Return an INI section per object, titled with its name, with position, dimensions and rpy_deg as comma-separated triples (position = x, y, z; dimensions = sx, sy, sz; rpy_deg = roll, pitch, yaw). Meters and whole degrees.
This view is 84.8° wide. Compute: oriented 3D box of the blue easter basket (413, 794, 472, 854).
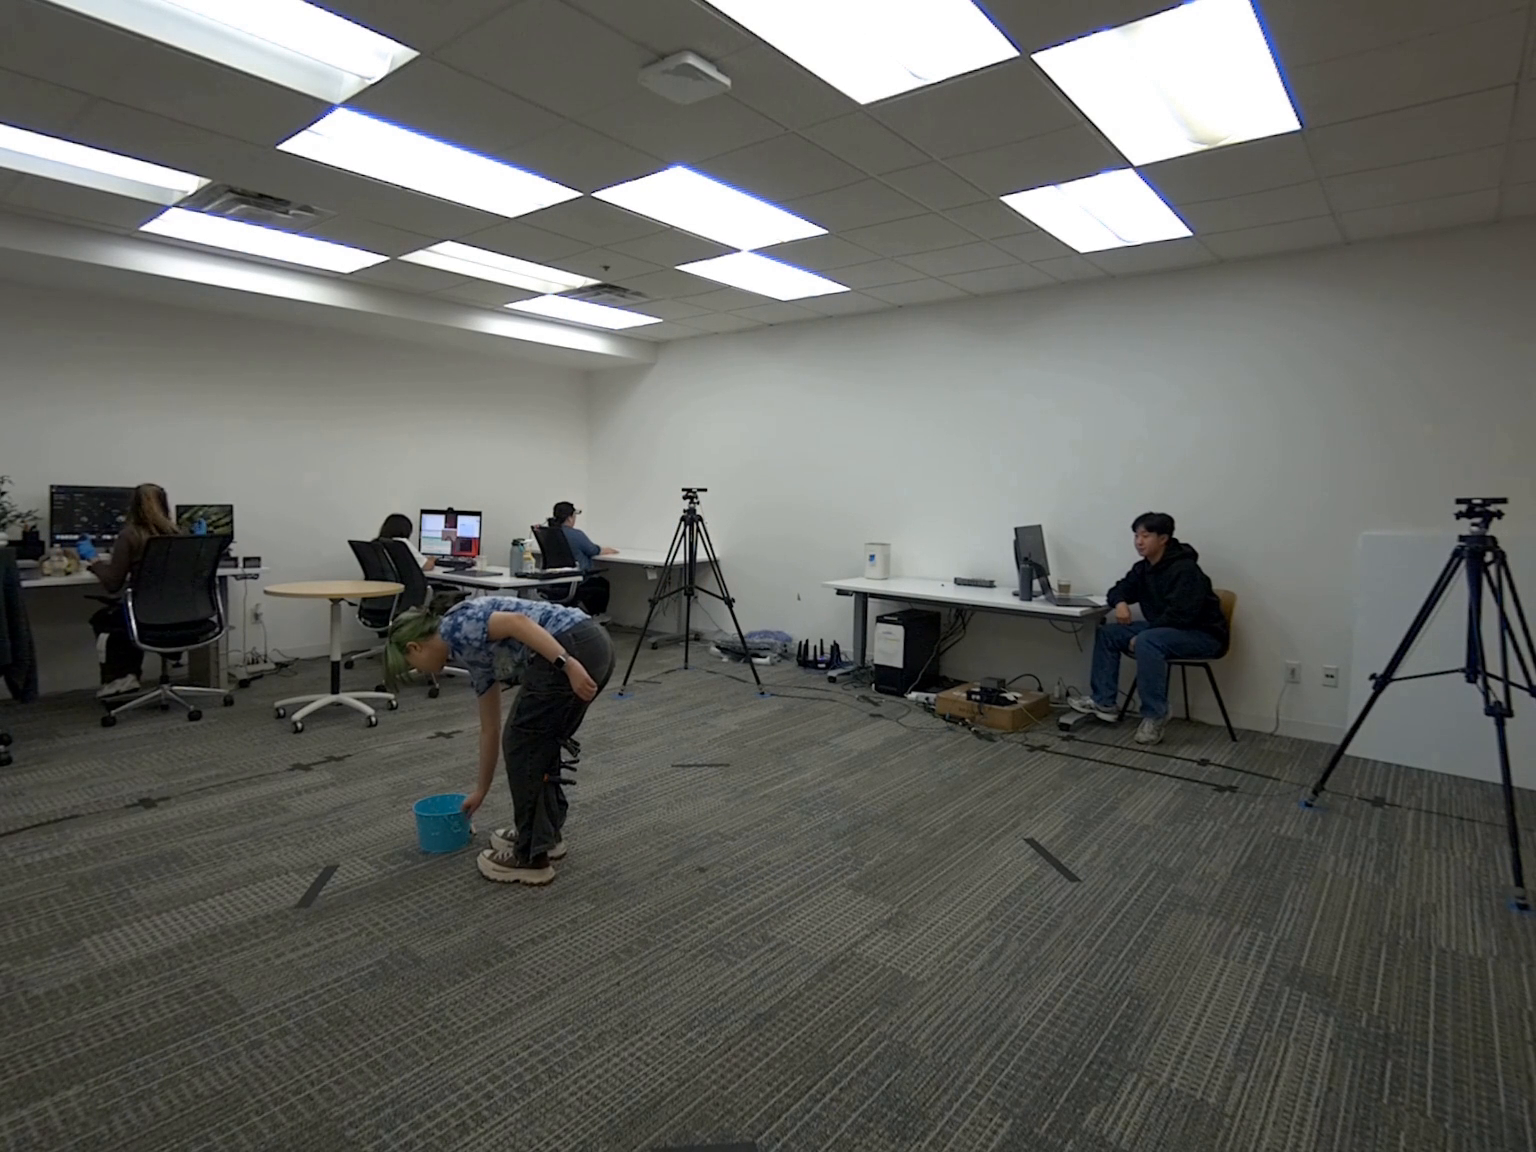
[blue easter basket]
position = -1.268, 0.957, 3.300
dimensions = 0.243, 0.155, 0.245
rpy_deg = 0, 5, -2
